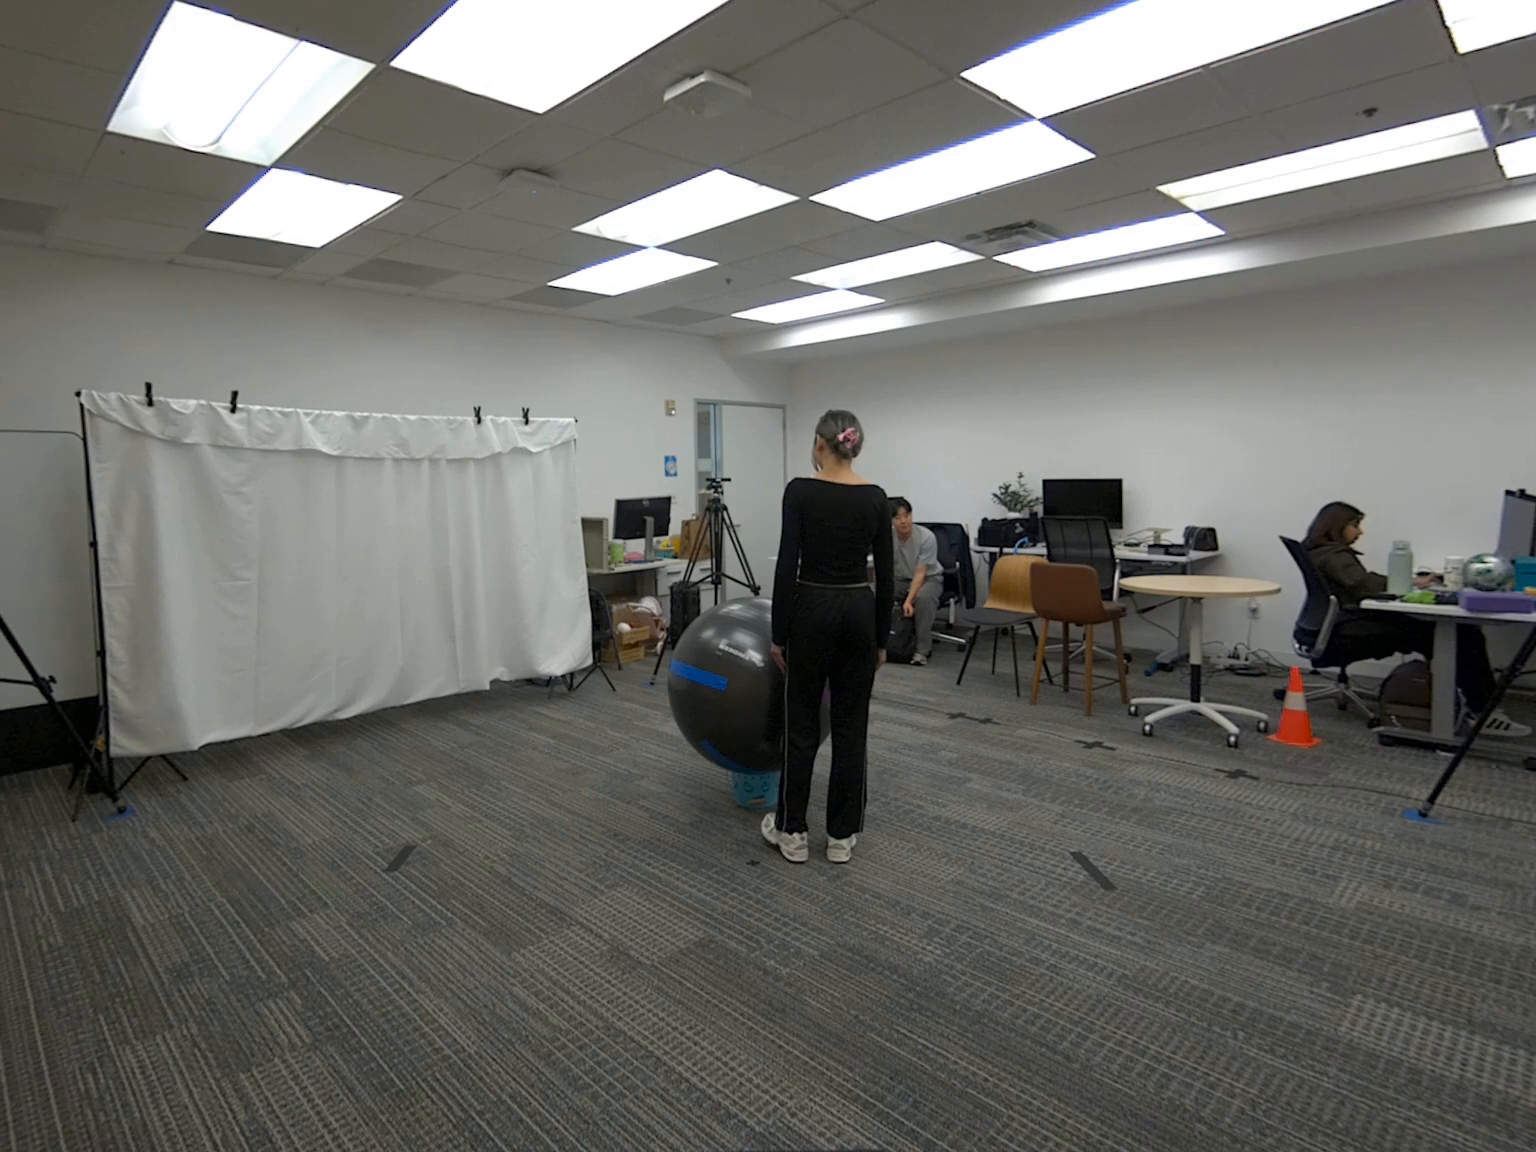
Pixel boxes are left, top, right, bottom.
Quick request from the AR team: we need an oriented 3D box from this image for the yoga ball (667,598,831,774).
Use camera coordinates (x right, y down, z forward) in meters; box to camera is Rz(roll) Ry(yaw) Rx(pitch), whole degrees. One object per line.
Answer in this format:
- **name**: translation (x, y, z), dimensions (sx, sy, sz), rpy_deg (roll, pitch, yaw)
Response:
- **yoga ball**: translation (-0.062, 0.467, 3.694), dimensions (0.757, 0.755, 0.762), rpy_deg (-1, 5, -2)
